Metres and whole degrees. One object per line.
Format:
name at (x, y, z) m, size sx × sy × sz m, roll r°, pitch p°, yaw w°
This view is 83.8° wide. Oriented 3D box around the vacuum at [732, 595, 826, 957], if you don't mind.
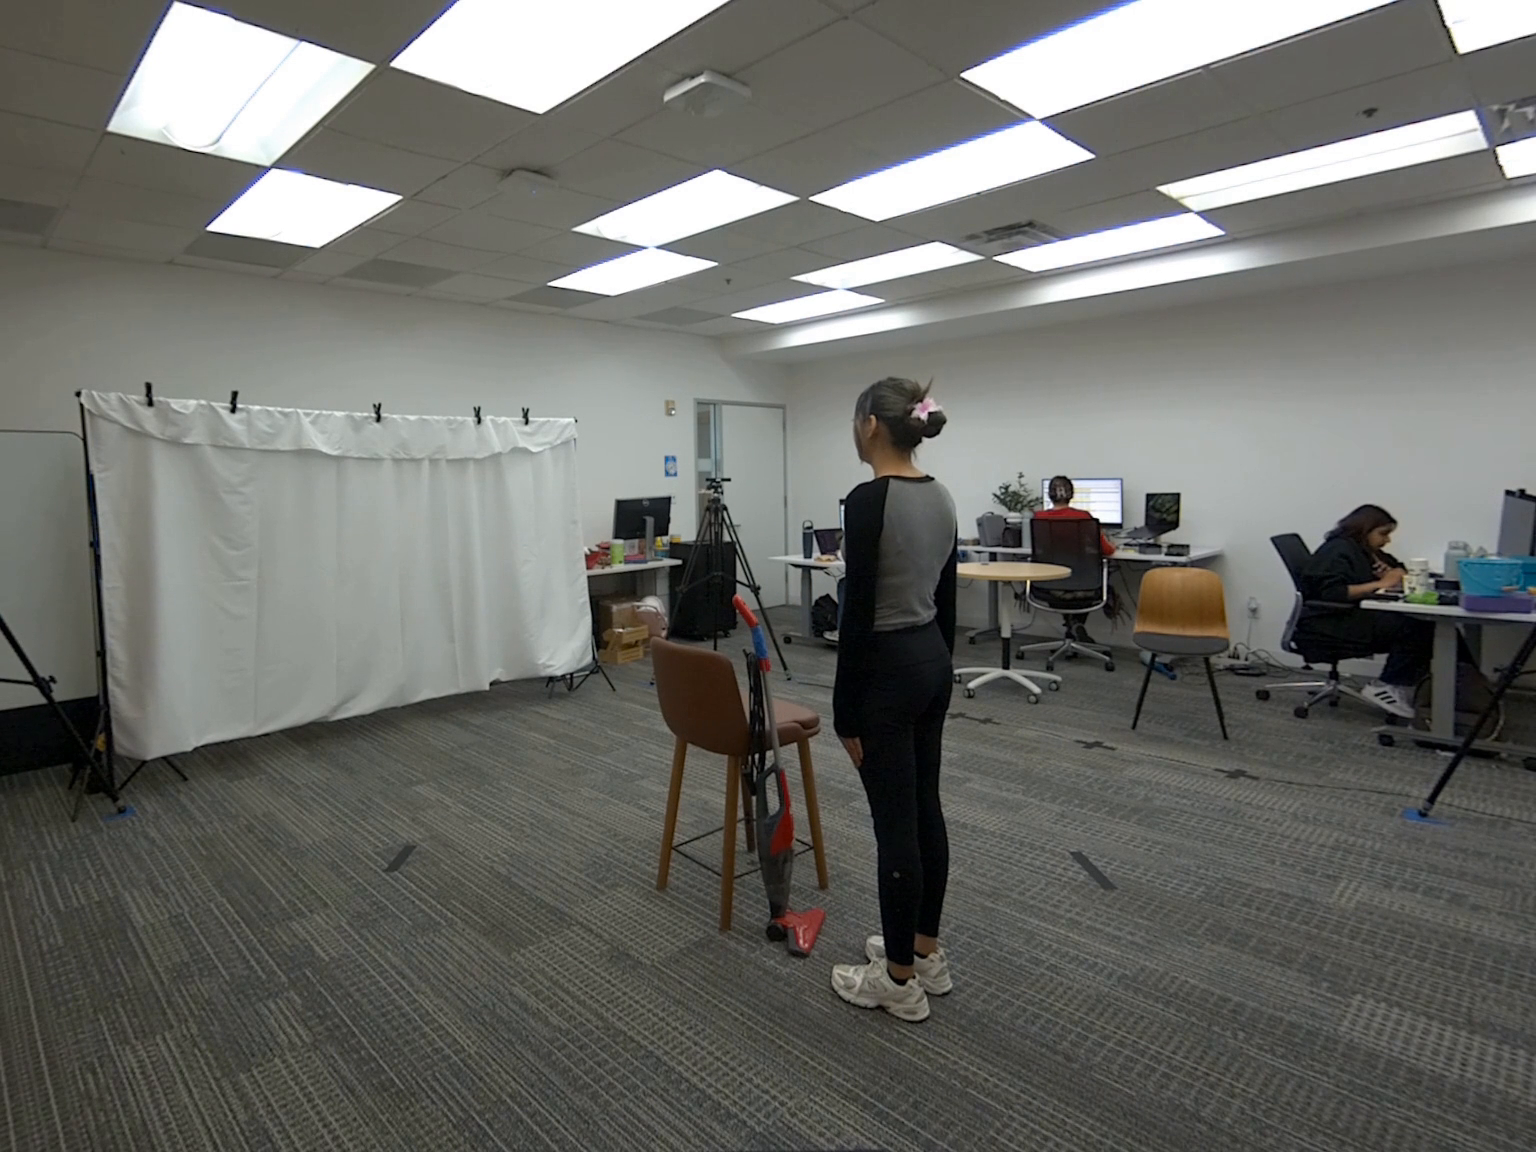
vacuum at (0.008, 0.580, 2.615) m, size 0.140 × 1.050 × 0.259 m, roll -2°, pitch -1°, yaw -33°
